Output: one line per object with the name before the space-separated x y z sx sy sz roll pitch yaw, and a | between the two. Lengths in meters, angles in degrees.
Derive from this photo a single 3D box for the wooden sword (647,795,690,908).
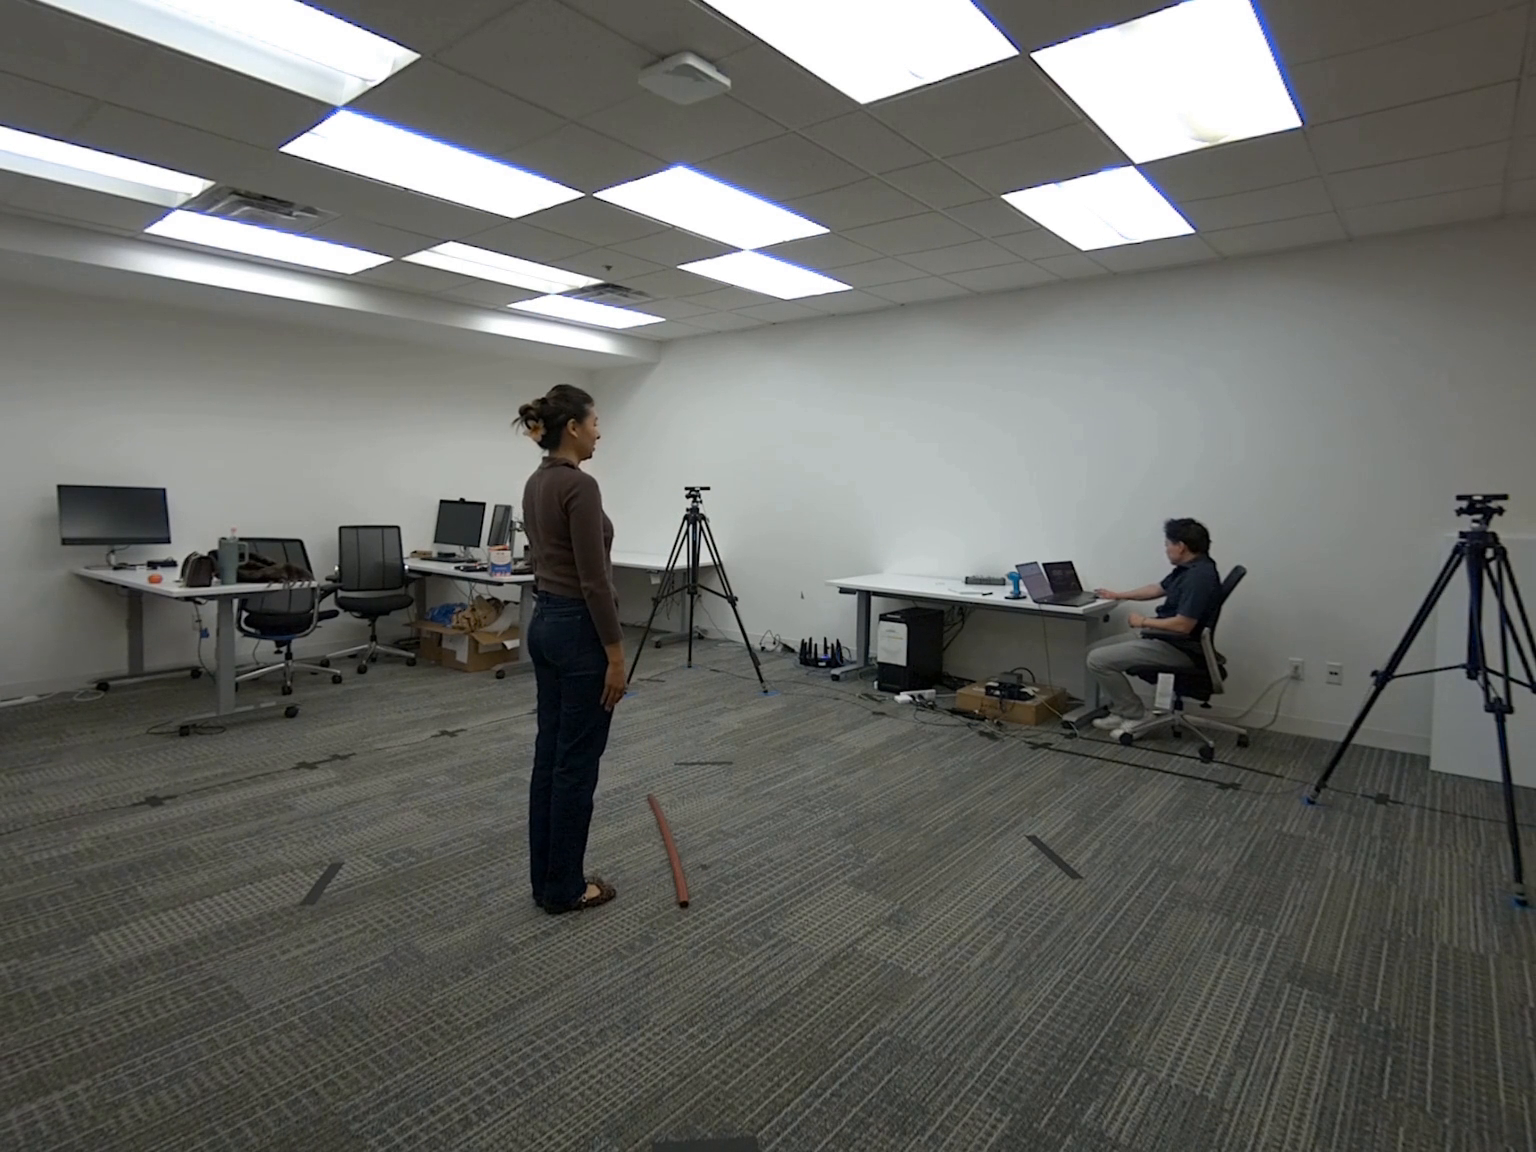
wooden sword | -0.406 1.021 3.310 0.051 0.024 1.042 -31 12 -9
